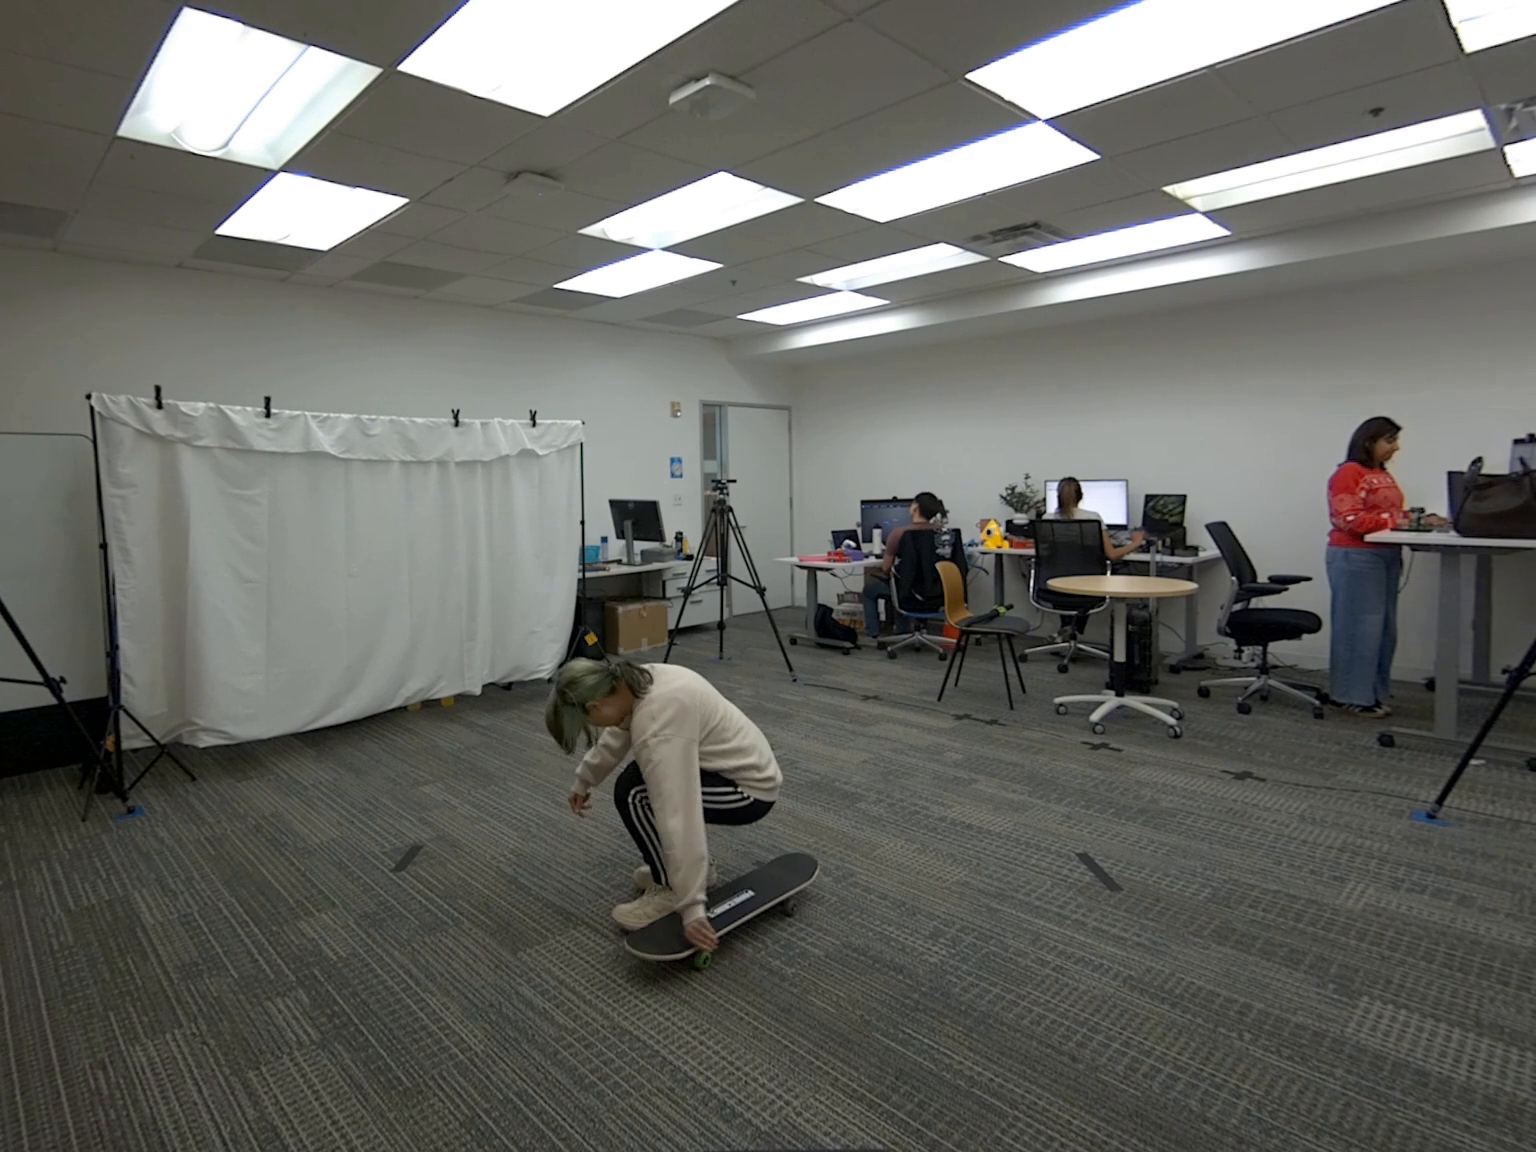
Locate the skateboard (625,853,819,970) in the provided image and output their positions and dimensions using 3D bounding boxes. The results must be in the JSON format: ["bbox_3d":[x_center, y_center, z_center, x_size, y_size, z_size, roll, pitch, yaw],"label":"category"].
[{"bbox_3d":[-0.116,1.042,2.649,0.199,0.110,0.765,4,8,42],"label":"skateboard"}]
